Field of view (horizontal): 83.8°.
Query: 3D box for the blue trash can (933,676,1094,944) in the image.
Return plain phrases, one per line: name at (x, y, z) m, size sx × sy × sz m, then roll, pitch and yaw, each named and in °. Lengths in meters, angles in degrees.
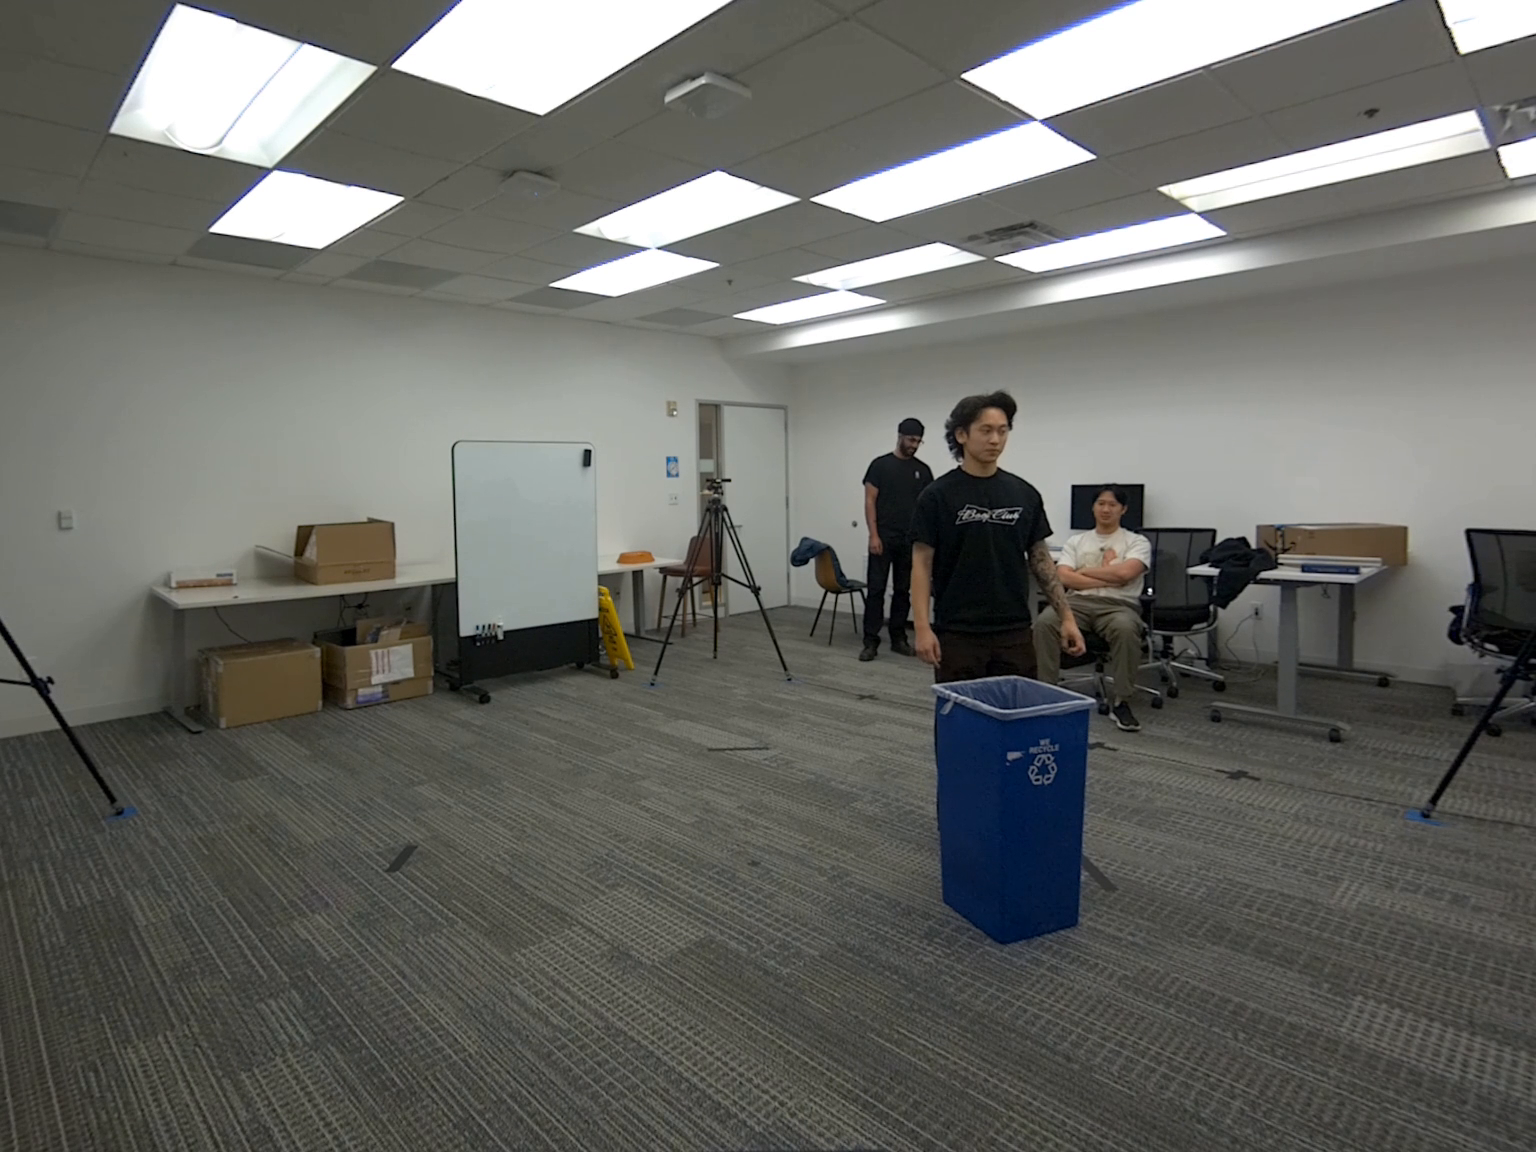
blue trash can at (0.773, 0.719, 2.710) m, size 0.366 × 0.711 × 0.387 m, roll -3°, pitch 5°, yaw -25°
